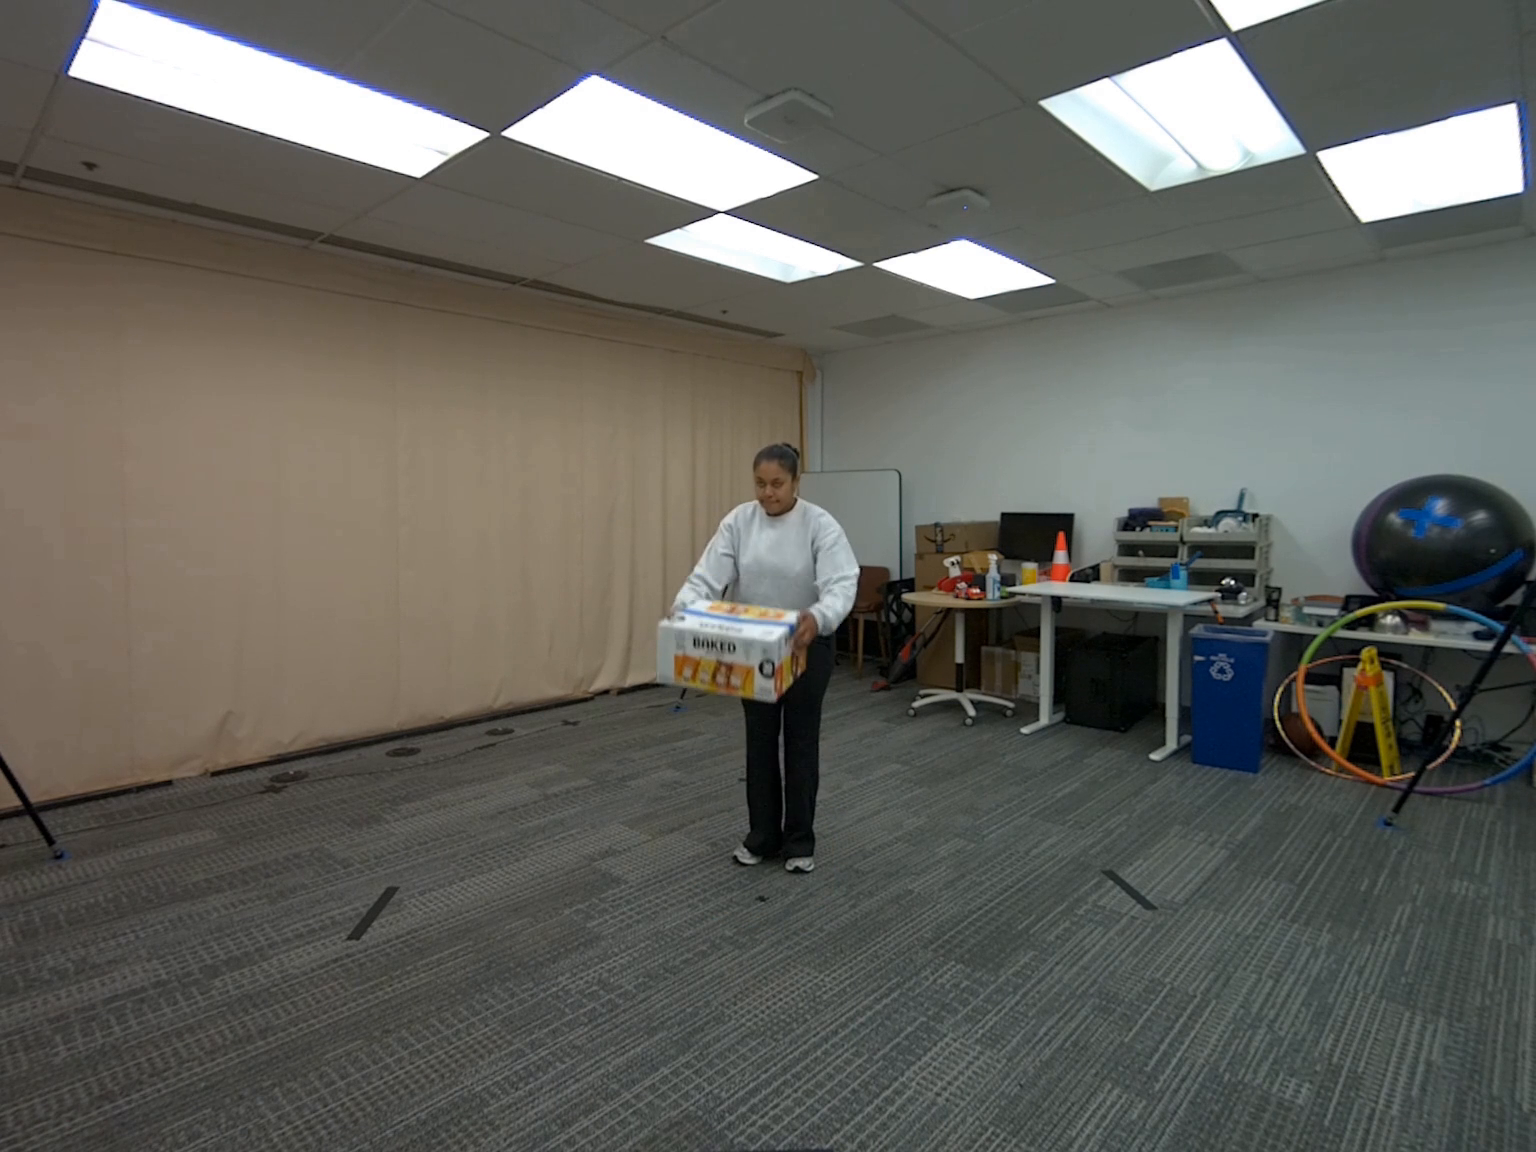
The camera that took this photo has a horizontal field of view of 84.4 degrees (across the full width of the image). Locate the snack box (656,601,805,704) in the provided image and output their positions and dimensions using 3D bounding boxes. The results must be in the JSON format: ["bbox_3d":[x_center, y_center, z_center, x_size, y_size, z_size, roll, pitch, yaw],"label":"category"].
[{"bbox_3d":[-0.110,0.223,2.824,0.414,0.204,0.335,6,12,19],"label":"snack box"}]
